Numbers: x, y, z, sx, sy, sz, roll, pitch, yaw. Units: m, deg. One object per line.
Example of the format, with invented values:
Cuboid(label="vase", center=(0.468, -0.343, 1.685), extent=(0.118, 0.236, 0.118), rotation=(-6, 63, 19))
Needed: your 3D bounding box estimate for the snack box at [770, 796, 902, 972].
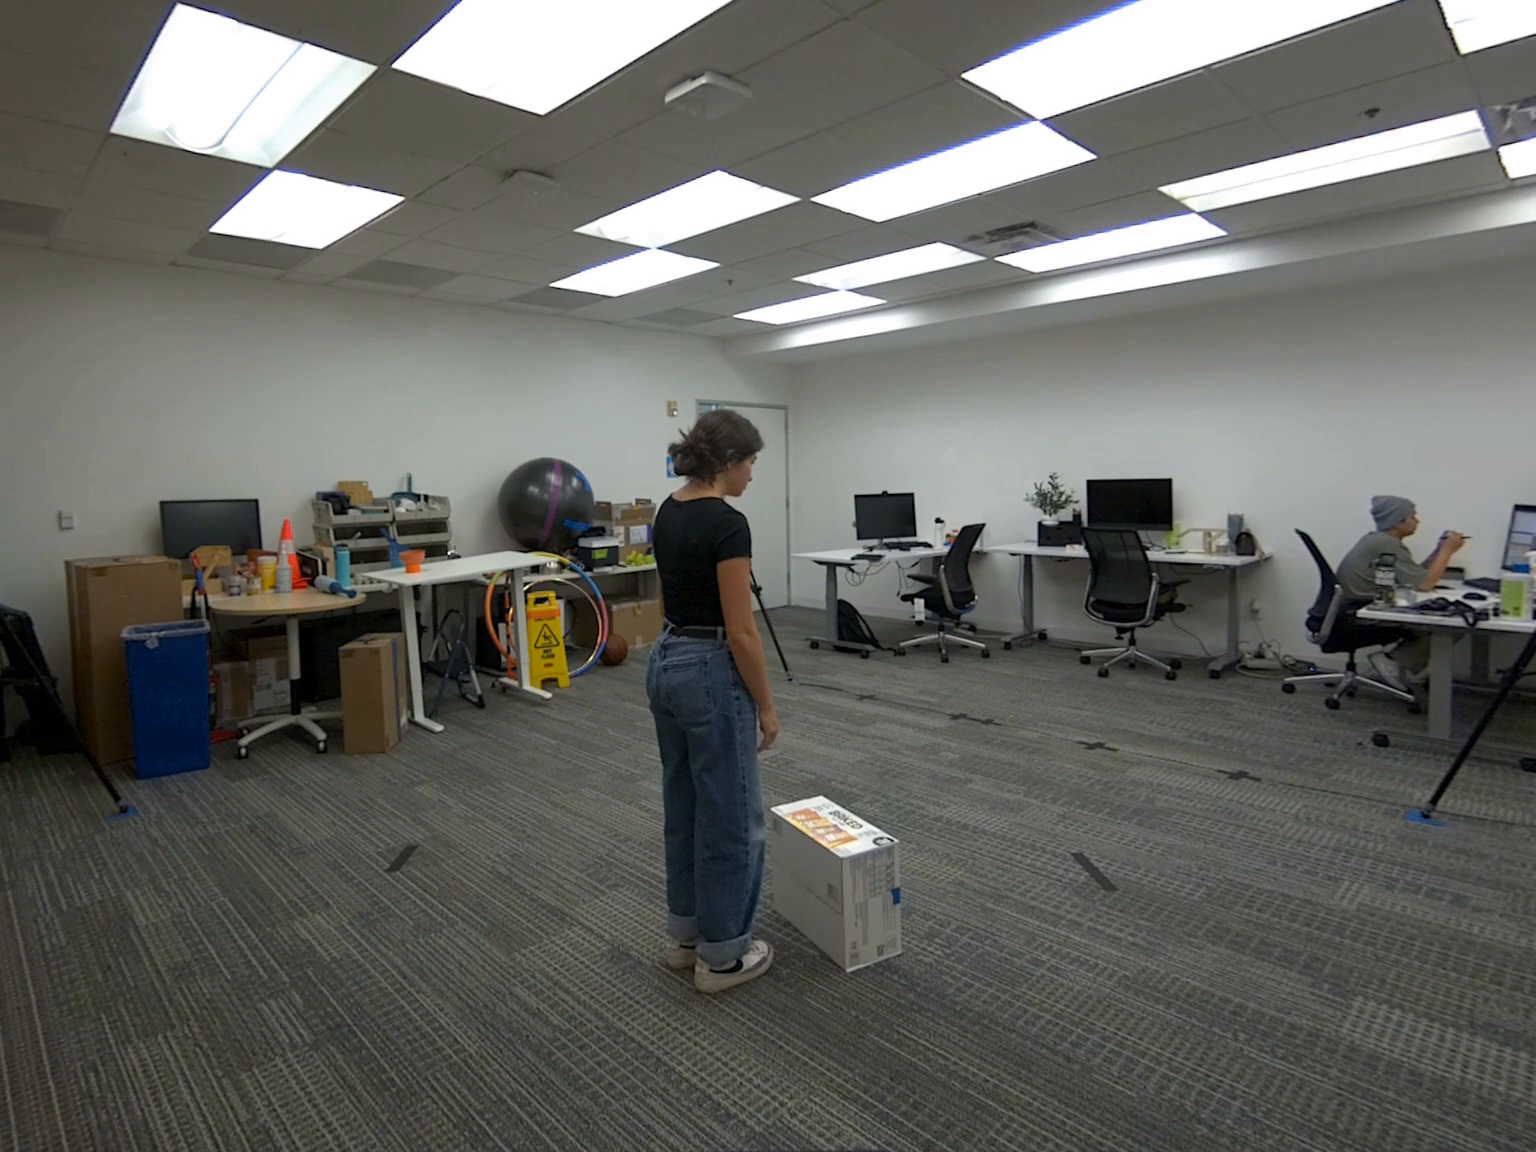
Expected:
Cuboid(label="snack box", center=(0.207, 0.928, 2.624), extent=(0.201, 0.339, 0.416), rotation=(-5, 7, -29))
